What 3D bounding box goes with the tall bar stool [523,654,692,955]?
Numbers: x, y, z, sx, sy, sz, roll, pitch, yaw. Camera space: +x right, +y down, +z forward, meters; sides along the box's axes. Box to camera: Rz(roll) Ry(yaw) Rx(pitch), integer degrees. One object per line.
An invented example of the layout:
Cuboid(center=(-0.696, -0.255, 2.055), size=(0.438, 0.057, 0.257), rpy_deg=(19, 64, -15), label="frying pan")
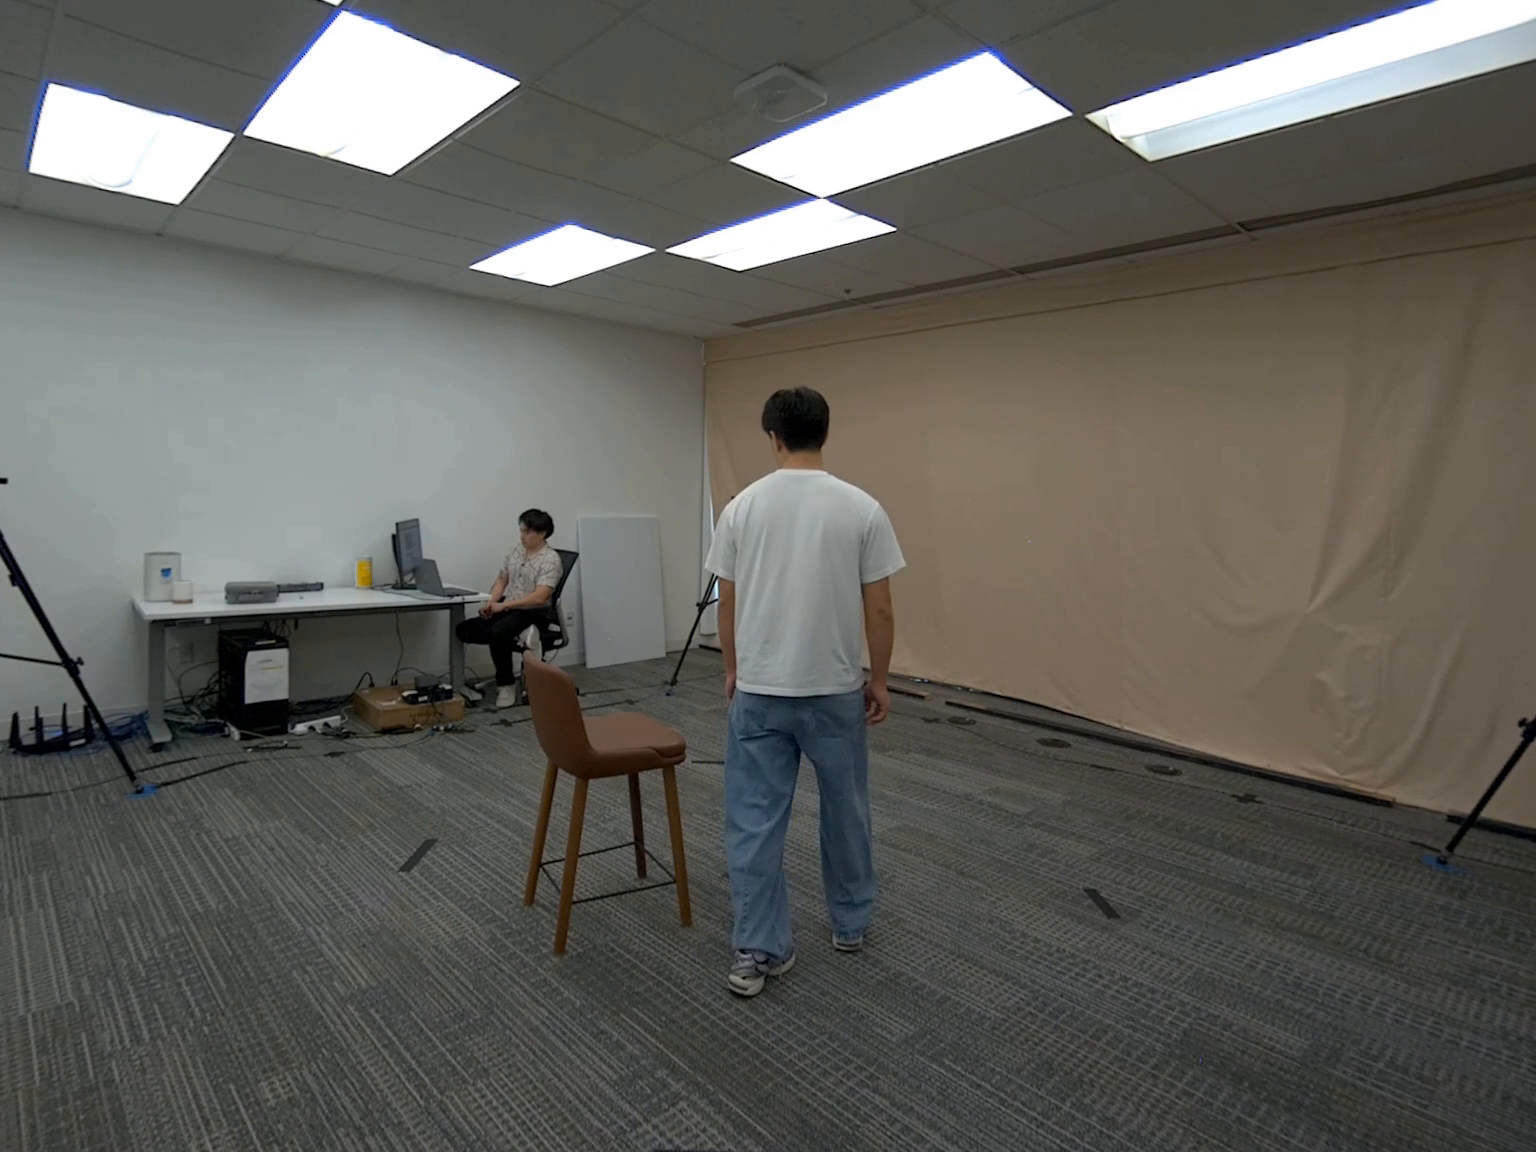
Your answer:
Cuboid(center=(-0.544, 0.692, 2.777), size=(0.458, 0.887, 0.467), rpy_deg=(-3, 5, -31), label="tall bar stool")
